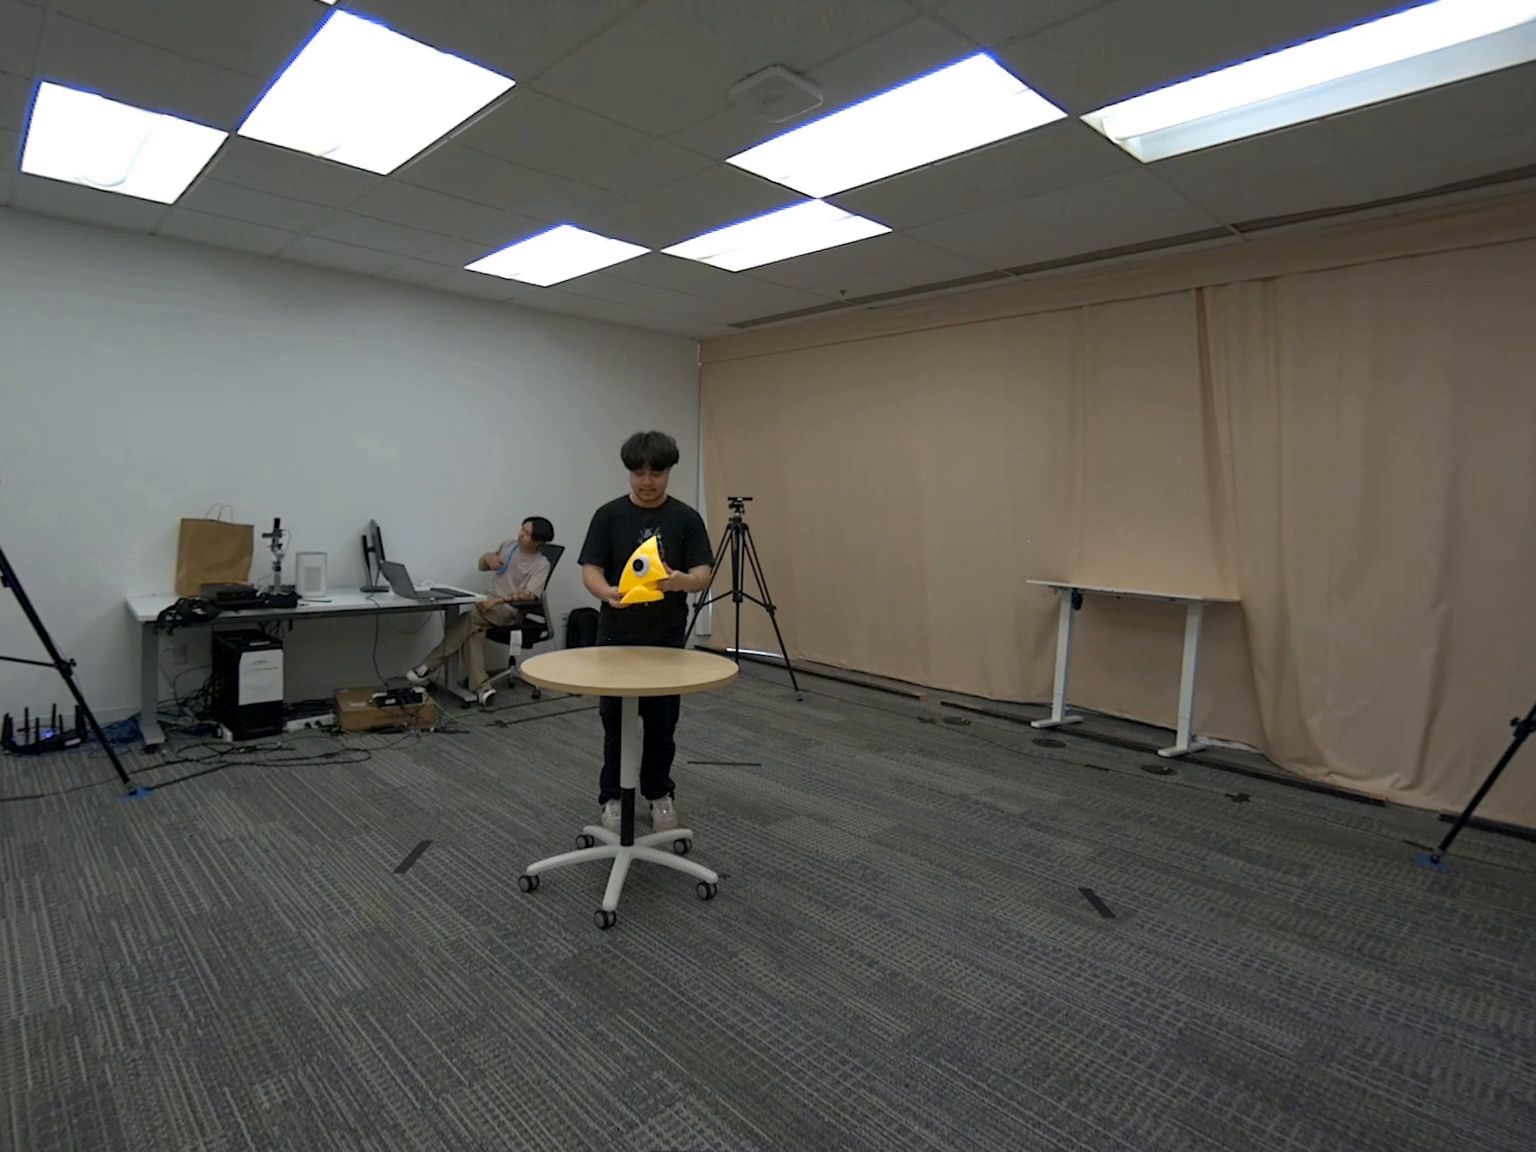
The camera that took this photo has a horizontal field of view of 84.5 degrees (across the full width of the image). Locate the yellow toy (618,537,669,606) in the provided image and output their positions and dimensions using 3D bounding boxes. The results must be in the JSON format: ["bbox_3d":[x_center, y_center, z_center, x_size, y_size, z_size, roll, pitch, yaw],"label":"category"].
[{"bbox_3d":[-0.478,-0.032,3.125,0.192,0.230,0.206,-4,3,-7],"label":"yellow toy"}]
